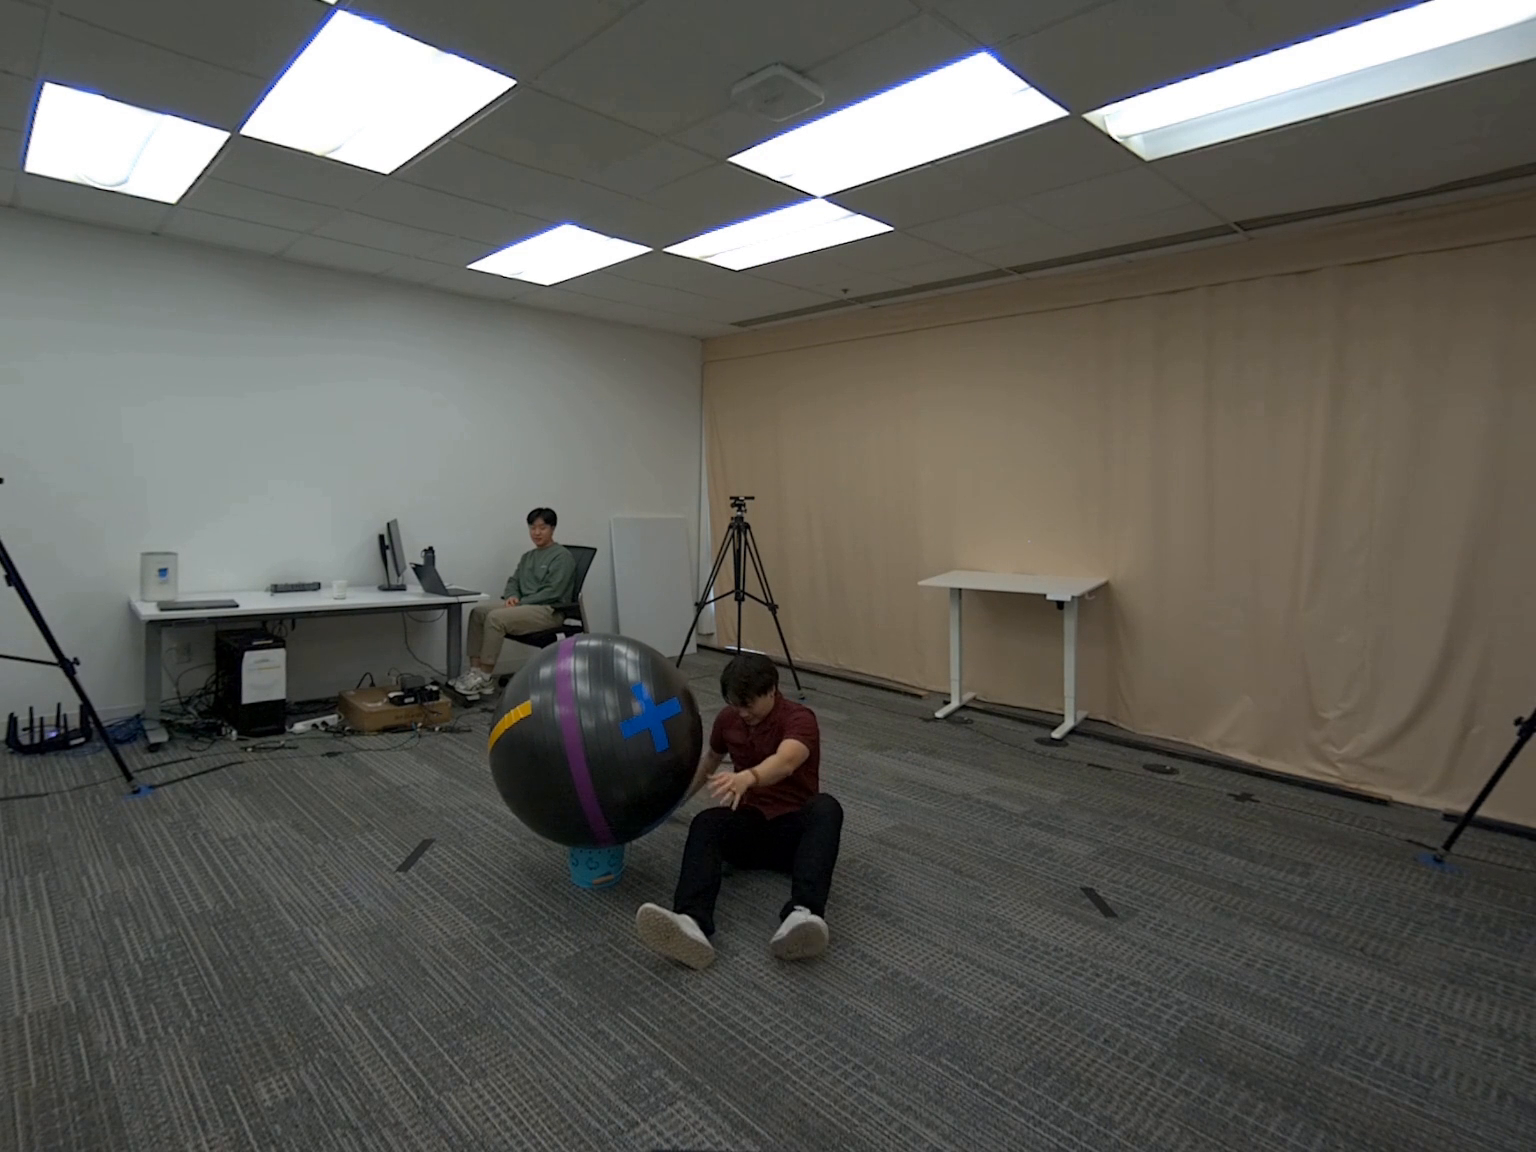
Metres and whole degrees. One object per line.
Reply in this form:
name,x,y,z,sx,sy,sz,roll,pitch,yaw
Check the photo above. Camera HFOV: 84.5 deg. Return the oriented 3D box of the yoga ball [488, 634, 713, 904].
yoga ball,-0.627,0.591,3.042,0.757,0.756,0.761,1,4,-1
